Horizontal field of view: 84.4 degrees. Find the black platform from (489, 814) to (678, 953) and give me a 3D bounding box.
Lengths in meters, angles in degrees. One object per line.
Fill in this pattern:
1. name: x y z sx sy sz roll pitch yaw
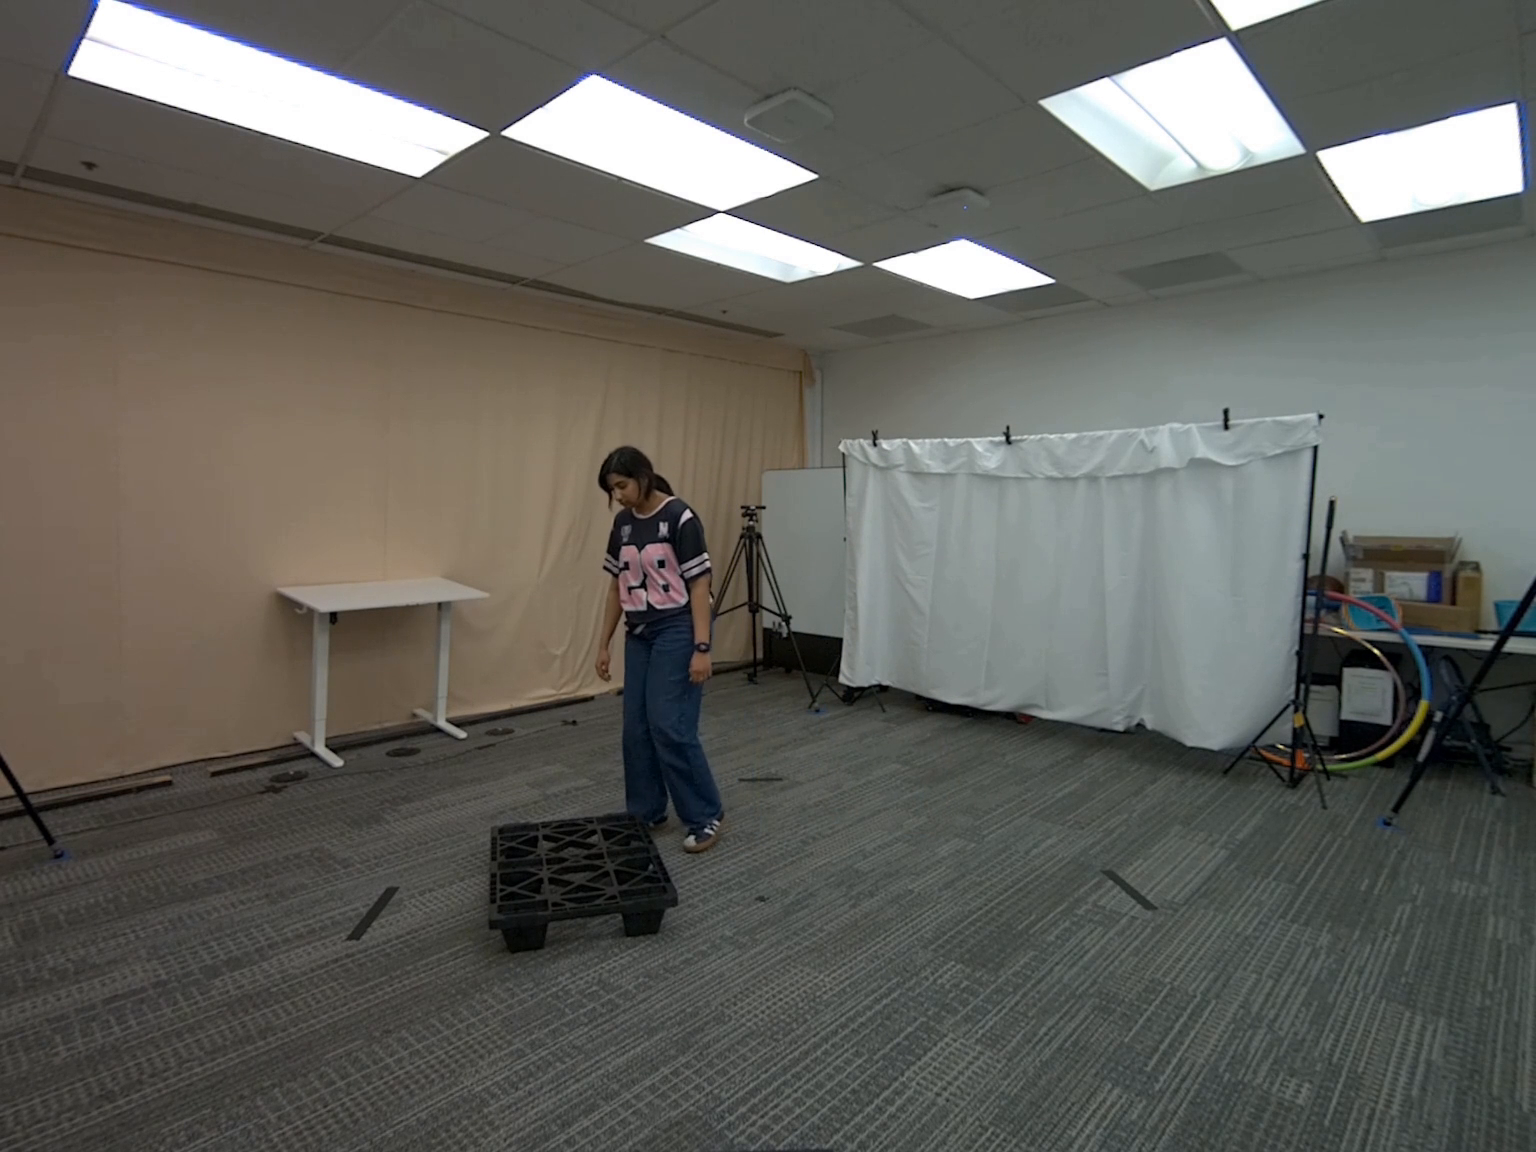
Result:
1. black platform: -0.694 1.076 3.040 0.595 0.143 0.821 -1 5 -16
